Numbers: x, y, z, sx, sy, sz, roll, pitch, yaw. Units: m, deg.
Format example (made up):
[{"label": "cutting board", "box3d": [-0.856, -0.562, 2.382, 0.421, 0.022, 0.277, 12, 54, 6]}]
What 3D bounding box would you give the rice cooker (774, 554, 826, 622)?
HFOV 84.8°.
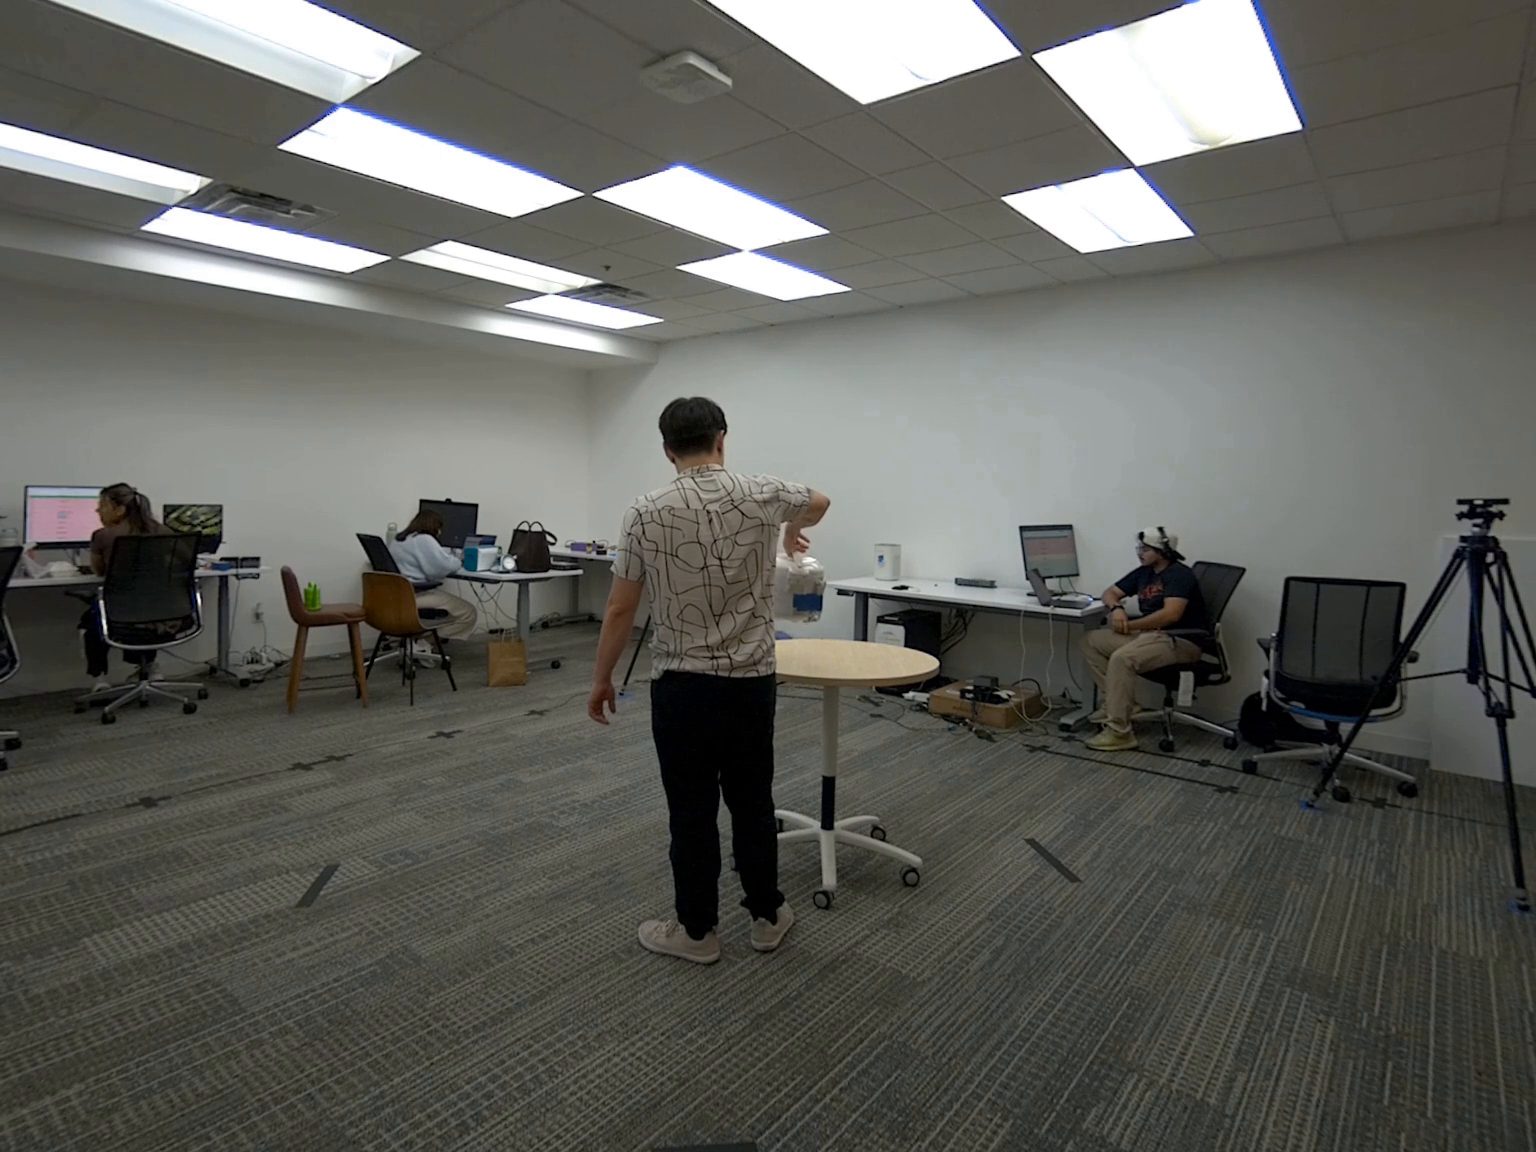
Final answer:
[{"label": "rice cooker", "box3d": [0.073, 0.026, 2.962, 0.216, 0.231, 0.224, 7, 10, -7]}]
